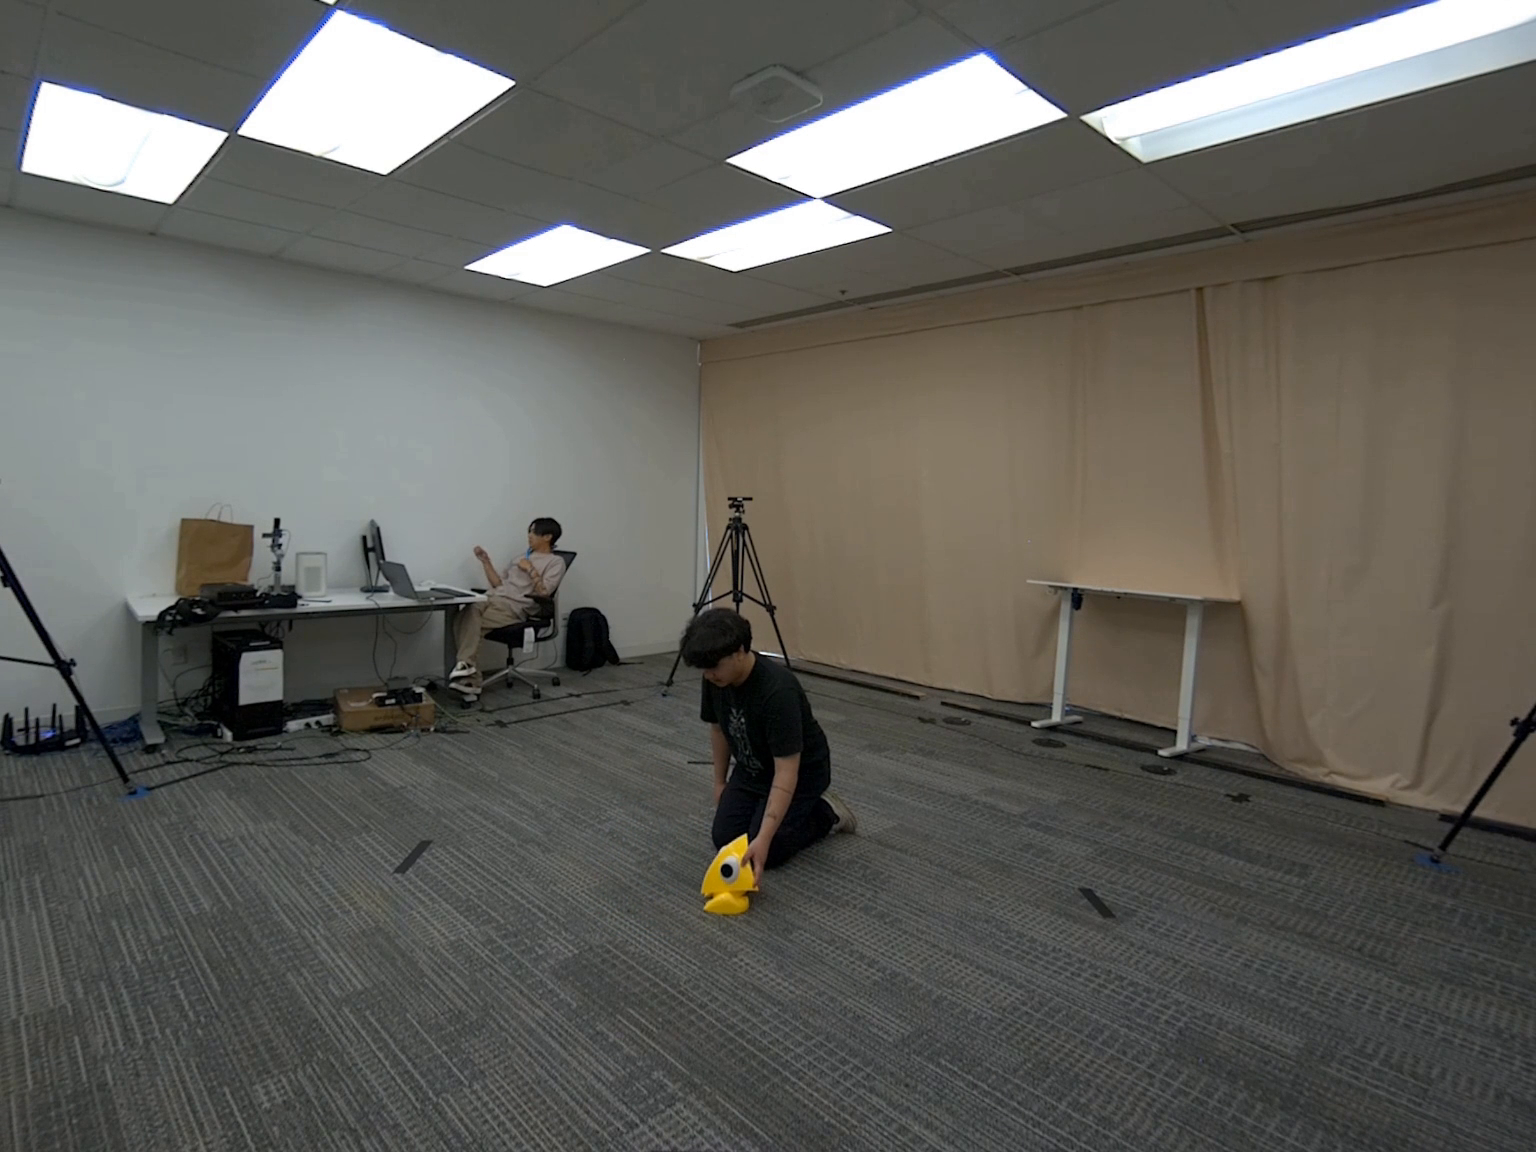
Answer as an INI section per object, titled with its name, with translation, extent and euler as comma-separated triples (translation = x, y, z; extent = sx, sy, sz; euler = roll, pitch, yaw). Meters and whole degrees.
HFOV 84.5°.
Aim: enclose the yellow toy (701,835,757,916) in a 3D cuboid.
[yellow toy]
translation = -0.154, 1.011, 2.920
extent = 0.192, 0.230, 0.206
euler = 1, 3, -5
